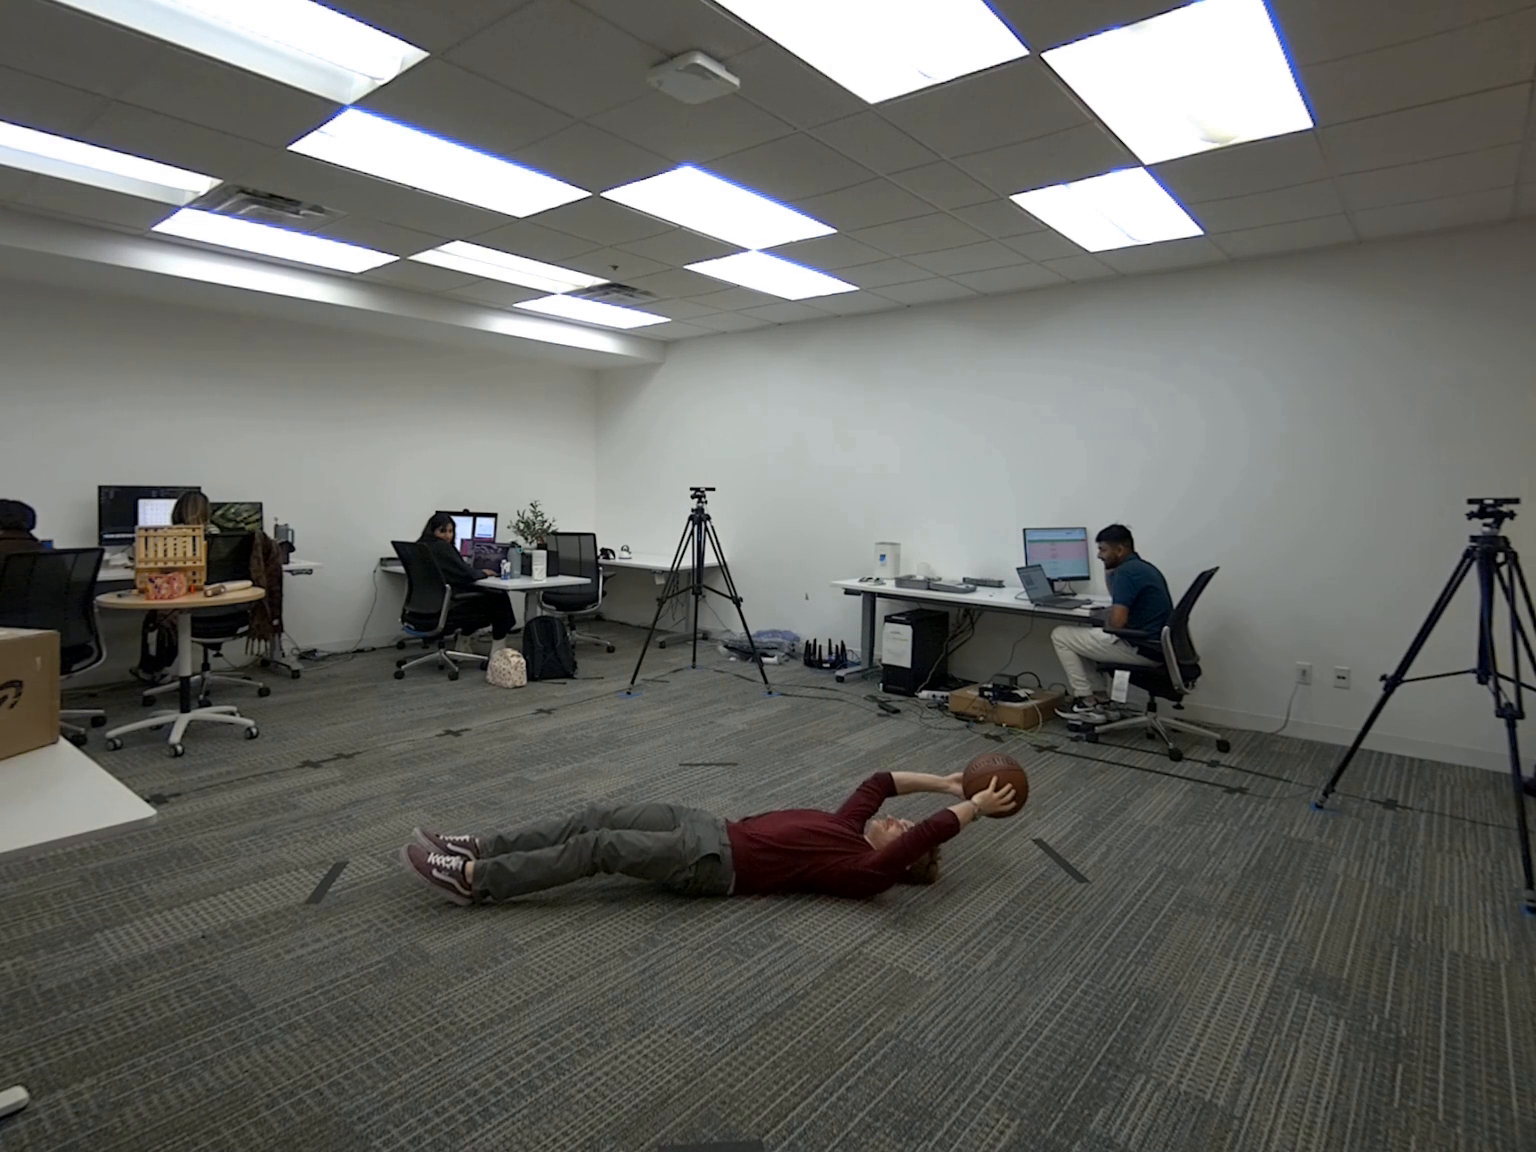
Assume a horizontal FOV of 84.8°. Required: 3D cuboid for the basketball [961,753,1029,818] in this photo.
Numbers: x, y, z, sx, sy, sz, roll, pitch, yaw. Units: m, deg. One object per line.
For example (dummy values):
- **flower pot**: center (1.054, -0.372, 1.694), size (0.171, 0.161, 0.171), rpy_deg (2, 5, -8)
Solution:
- **basketball**: center (0.839, 0.770, 3.182), size (0.235, 0.235, 0.237), rpy_deg (1, 4, -2)
